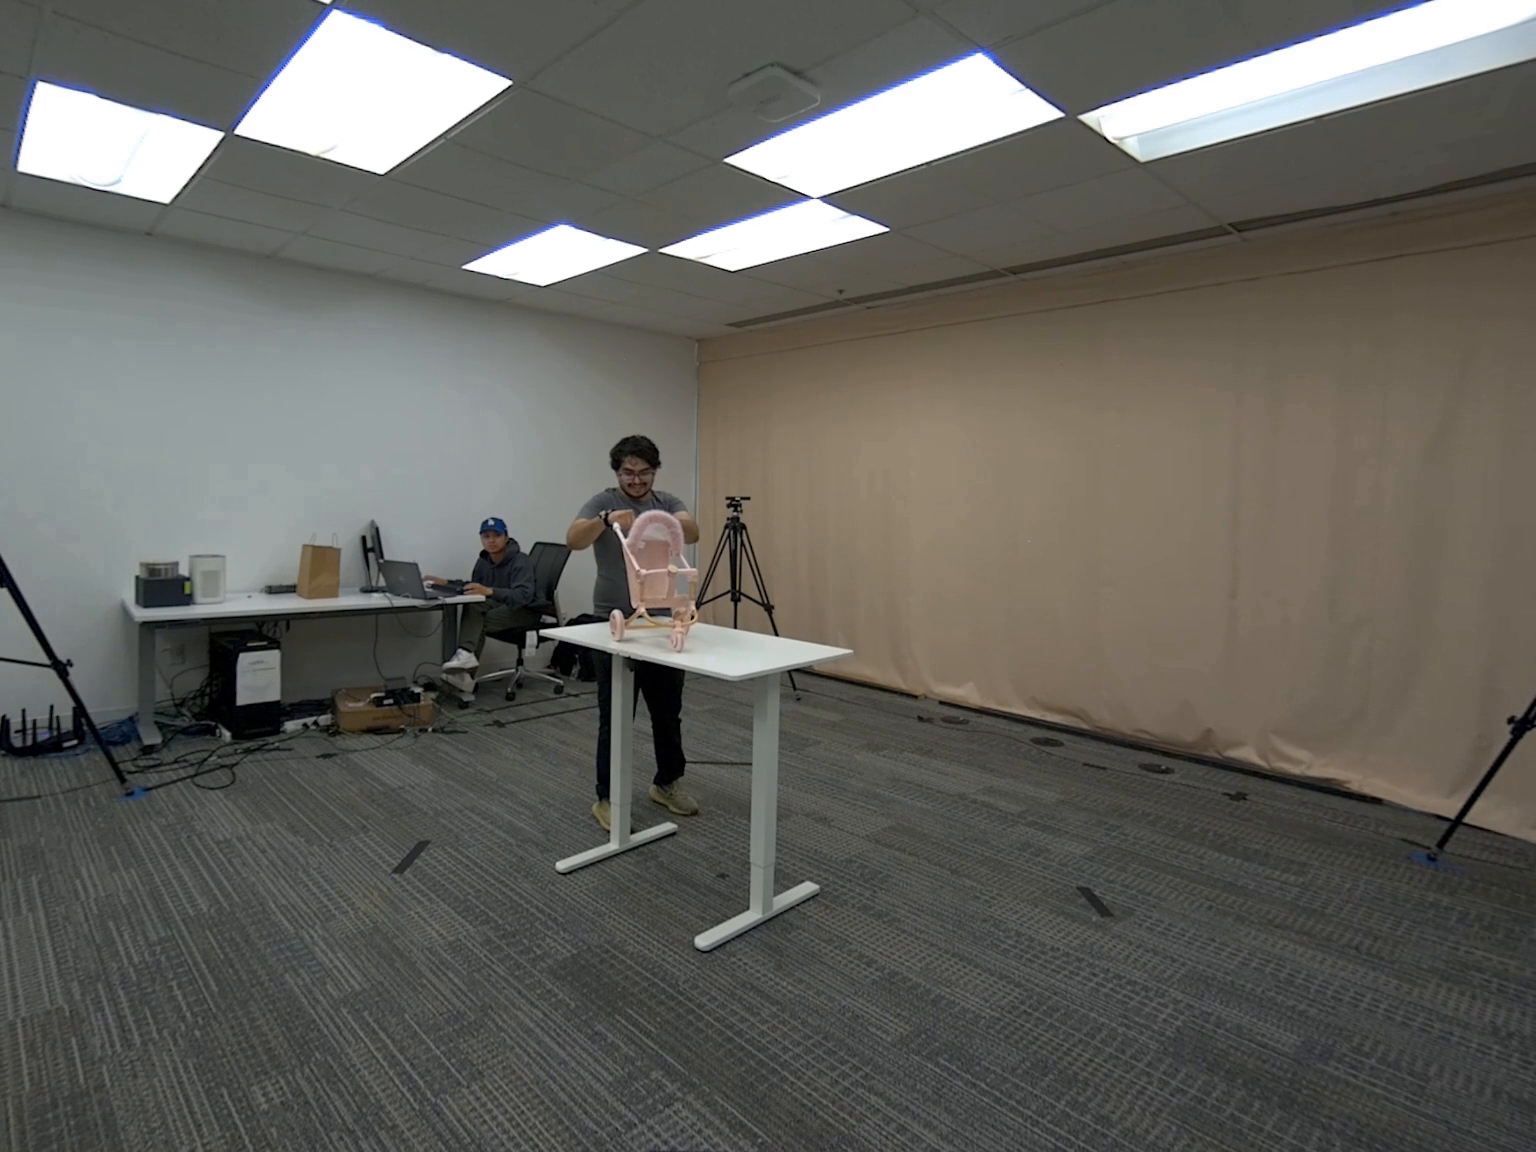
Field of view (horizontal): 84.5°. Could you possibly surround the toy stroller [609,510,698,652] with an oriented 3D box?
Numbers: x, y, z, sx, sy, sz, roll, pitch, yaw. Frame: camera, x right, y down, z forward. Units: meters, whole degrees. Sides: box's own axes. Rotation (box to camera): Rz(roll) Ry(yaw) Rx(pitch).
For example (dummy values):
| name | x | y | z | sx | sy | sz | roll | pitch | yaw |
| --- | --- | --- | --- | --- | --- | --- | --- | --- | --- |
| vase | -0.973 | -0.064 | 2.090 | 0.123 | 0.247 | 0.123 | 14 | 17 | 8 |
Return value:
| name | x | y | z | sx | sy | sz | roll | pitch | yaw |
| --- | --- | --- | --- | --- | --- | --- | --- | --- | --- |
| toy stroller | -0.392 | 0.012 | 2.932 | 0.276 | 0.540 | 0.344 | 0 | -11 | -25 |
